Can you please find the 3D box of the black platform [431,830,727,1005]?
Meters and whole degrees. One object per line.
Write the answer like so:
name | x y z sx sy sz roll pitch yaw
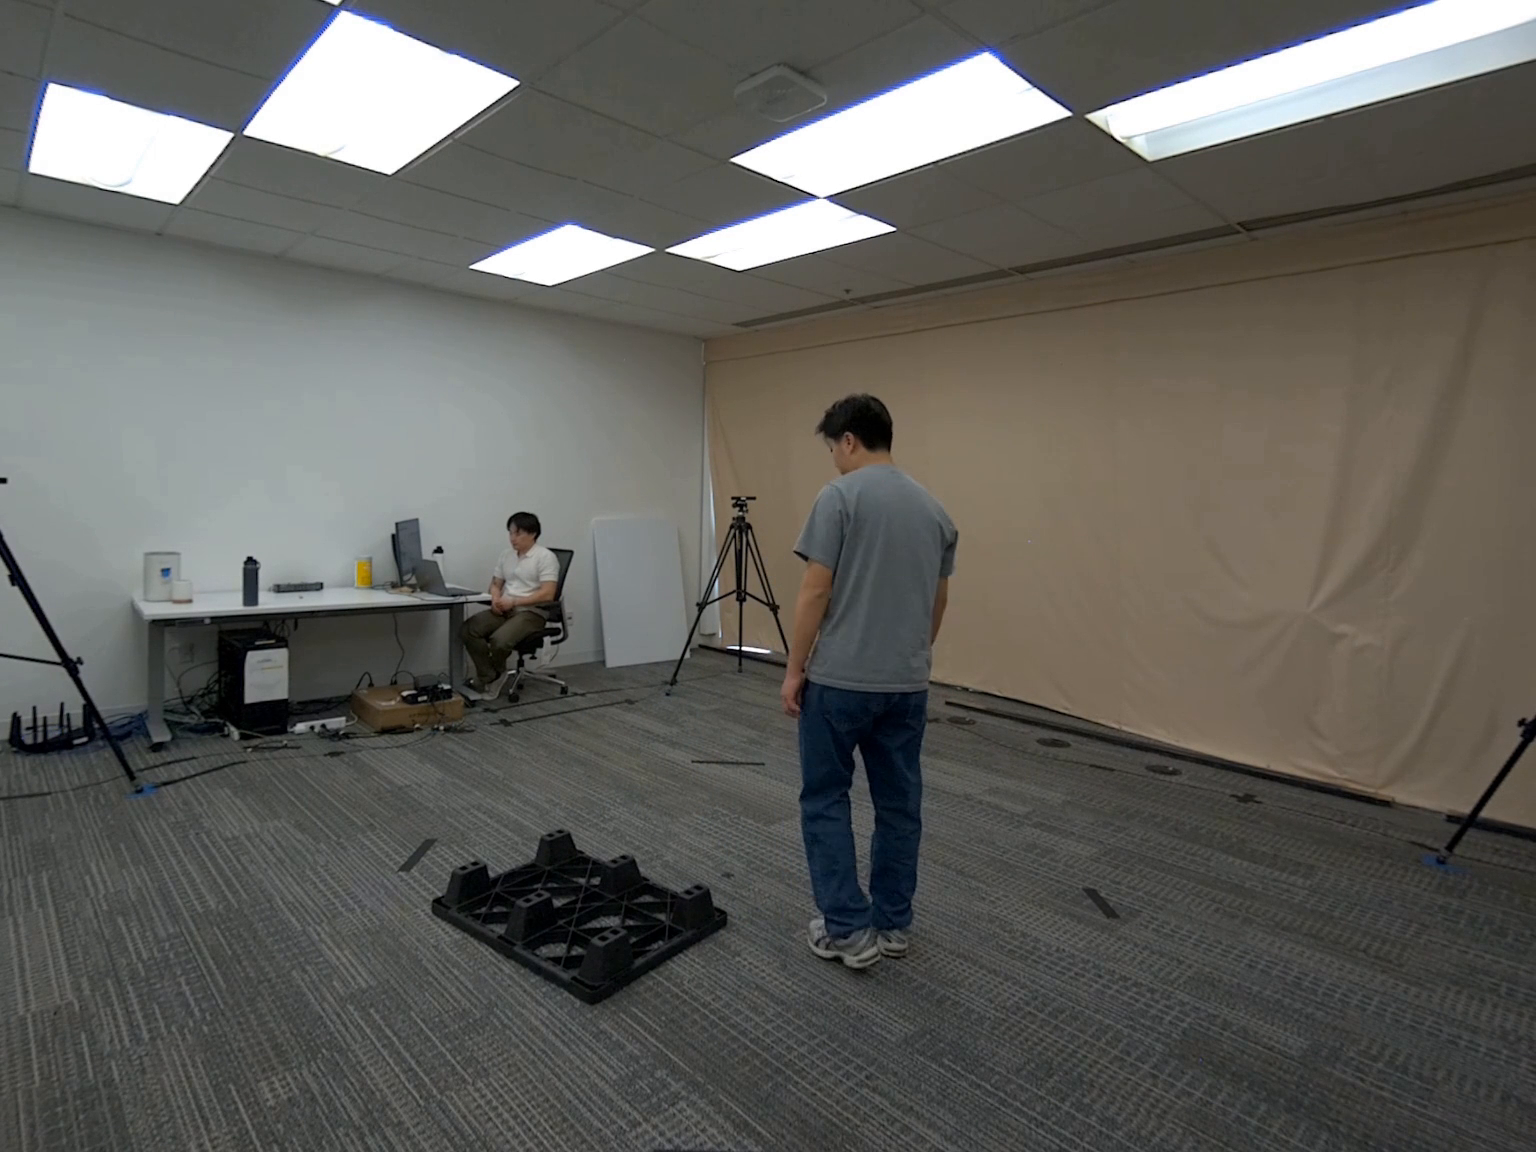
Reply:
black platform | -0.631 1.060 2.763 0.825 0.143 0.592 5 6 37
